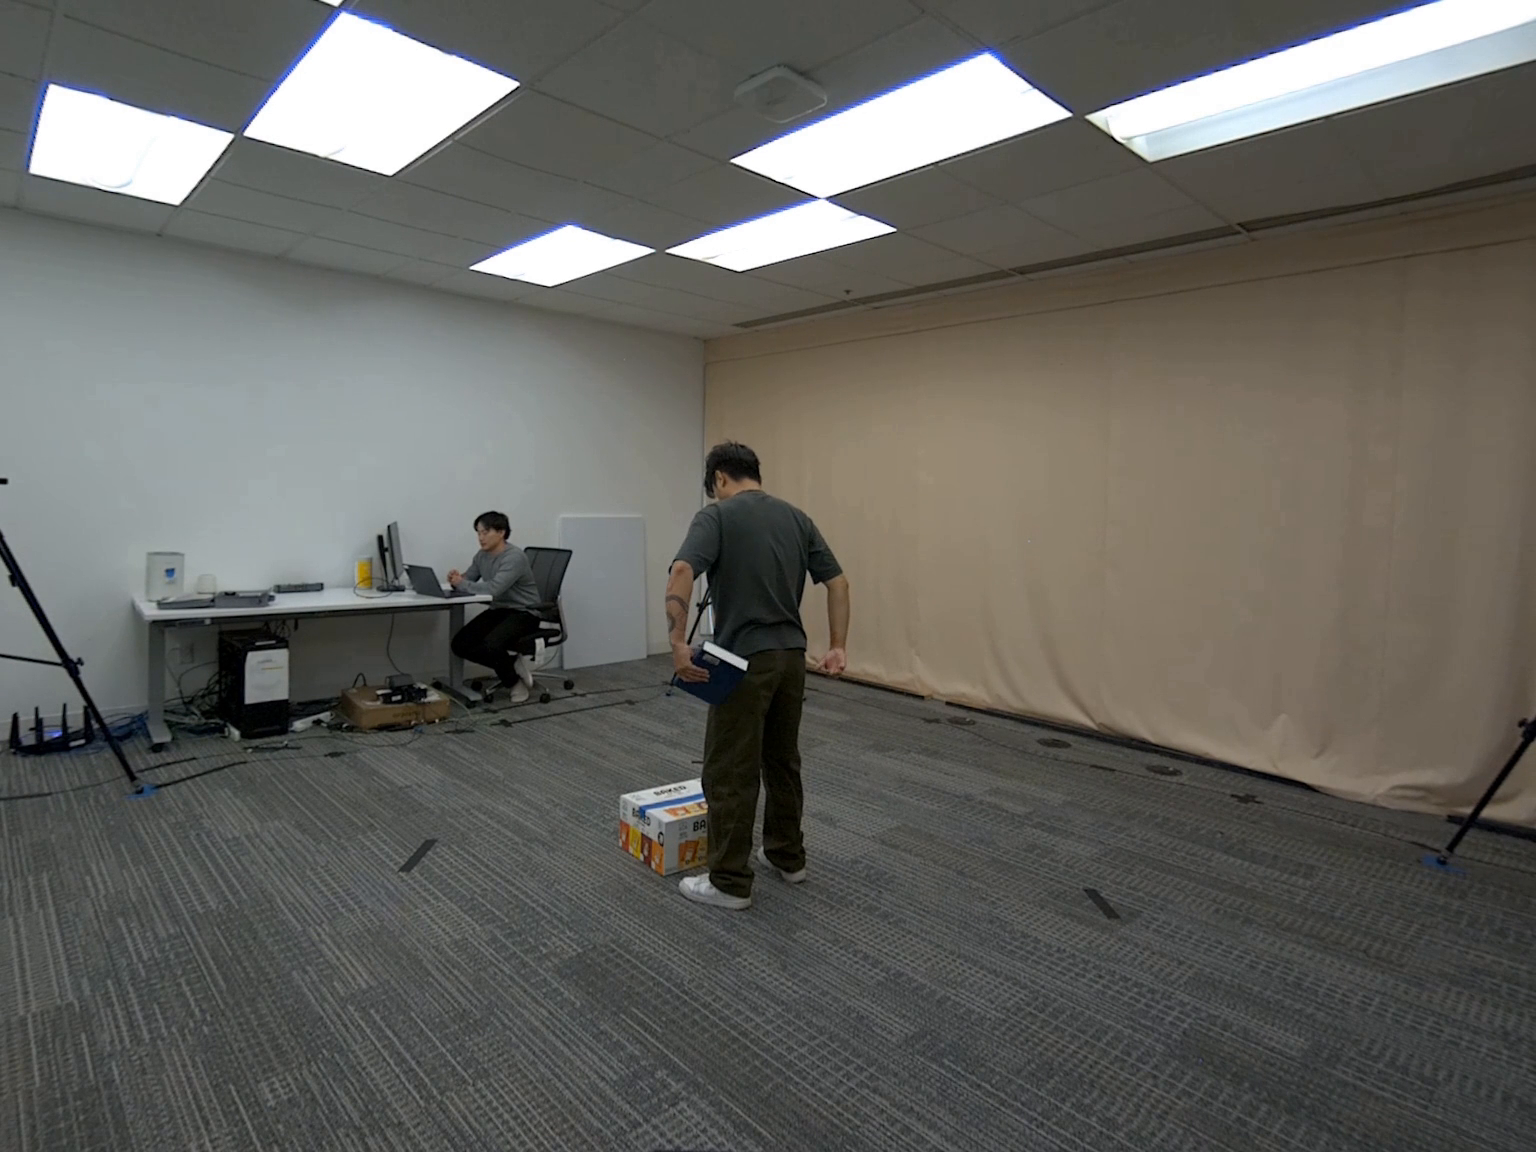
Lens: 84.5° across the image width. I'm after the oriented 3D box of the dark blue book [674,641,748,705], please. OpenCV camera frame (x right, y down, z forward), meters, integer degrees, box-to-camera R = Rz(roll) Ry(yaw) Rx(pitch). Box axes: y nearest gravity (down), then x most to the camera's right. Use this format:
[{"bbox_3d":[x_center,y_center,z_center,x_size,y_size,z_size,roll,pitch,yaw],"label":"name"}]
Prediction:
[{"bbox_3d":[-0.191,0.314,2.710,0.162,0.046,0.244,29,-45,-11],"label":"dark blue book"}]
